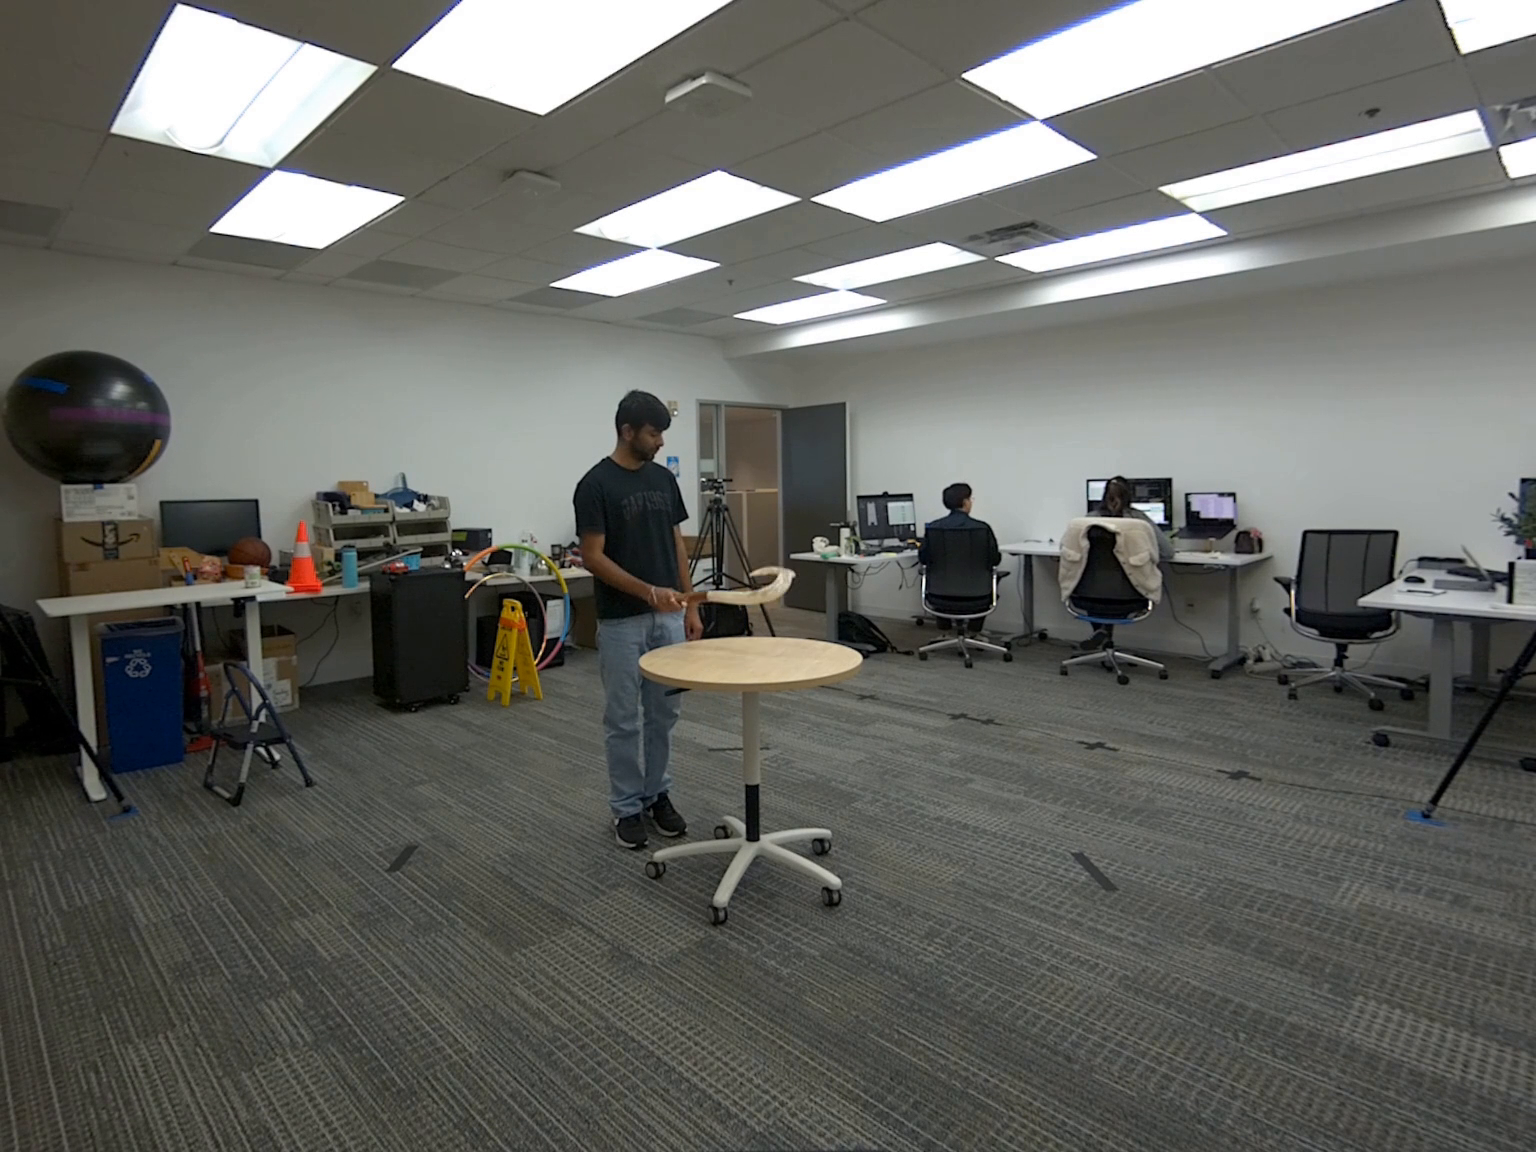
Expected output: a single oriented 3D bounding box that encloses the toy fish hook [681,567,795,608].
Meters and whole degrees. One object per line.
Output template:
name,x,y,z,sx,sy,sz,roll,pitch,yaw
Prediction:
toy fish hook,-0.153,0.044,3.074,0.517,0.047,0.225,-7,23,27
